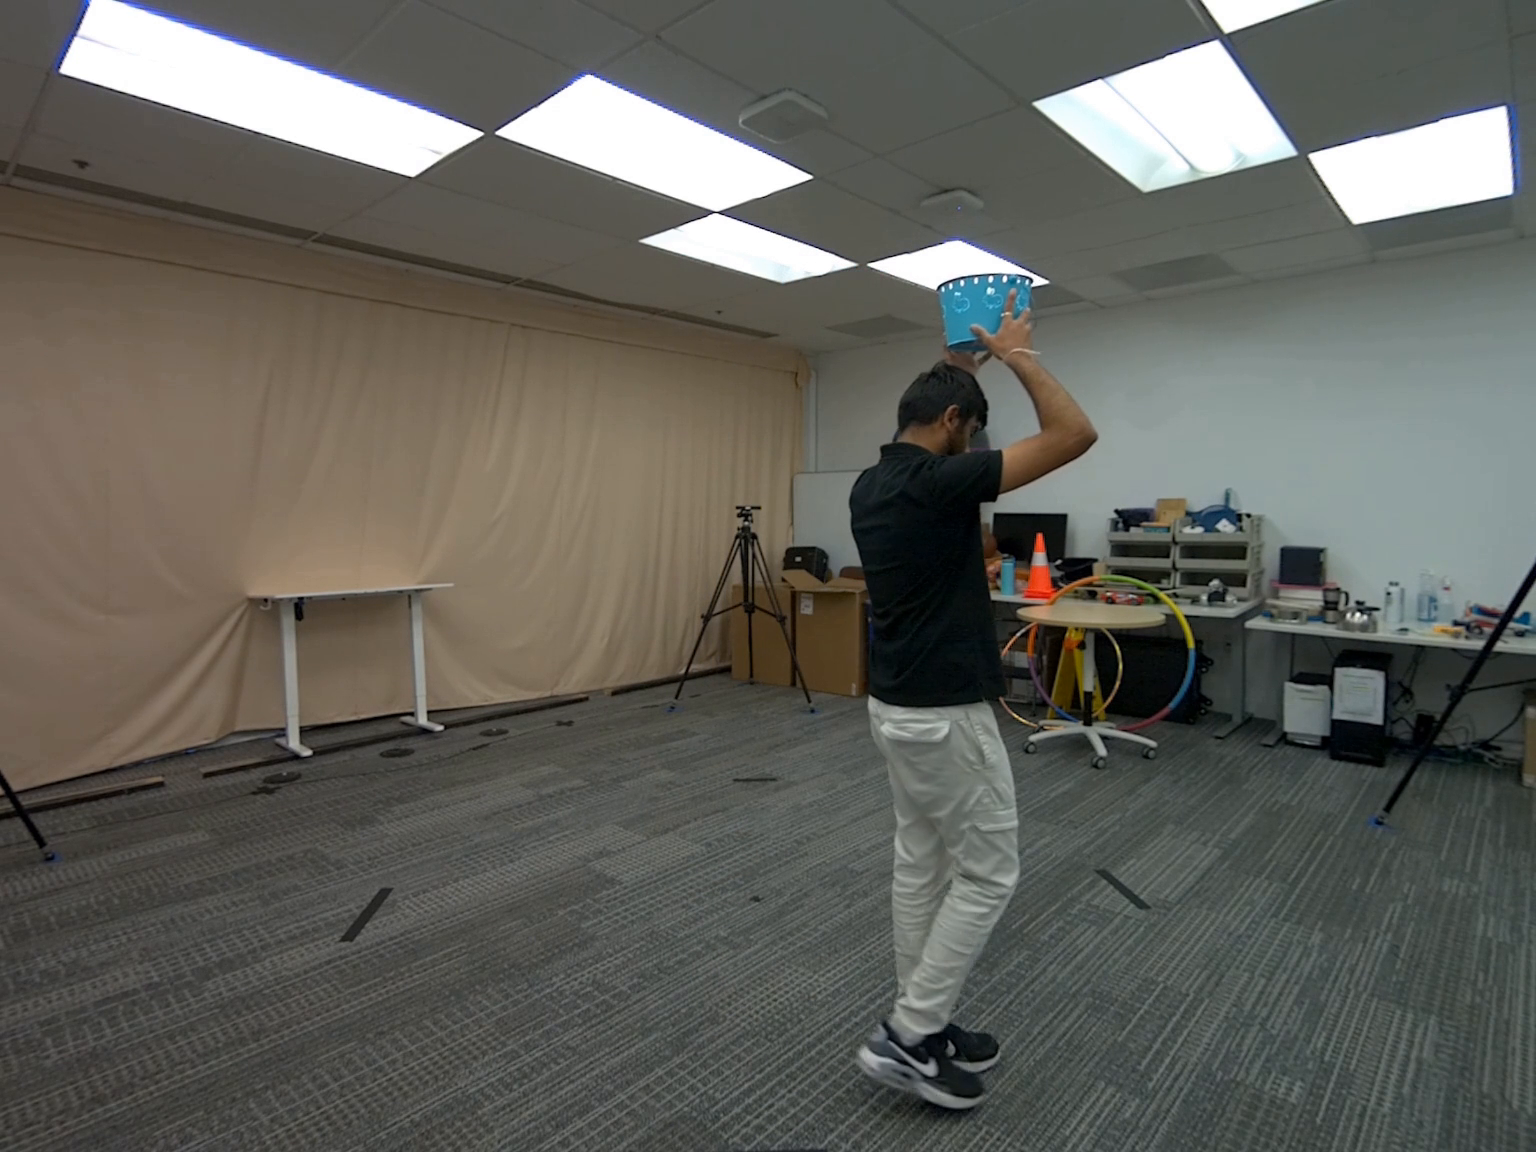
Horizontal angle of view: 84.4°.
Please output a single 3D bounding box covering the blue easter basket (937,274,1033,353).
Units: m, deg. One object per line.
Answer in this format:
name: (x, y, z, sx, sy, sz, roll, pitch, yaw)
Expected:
blue easter basket: (0.564, -0.654, 2.088, 0.243, 0.155, 0.245, 2, 5, -2)
